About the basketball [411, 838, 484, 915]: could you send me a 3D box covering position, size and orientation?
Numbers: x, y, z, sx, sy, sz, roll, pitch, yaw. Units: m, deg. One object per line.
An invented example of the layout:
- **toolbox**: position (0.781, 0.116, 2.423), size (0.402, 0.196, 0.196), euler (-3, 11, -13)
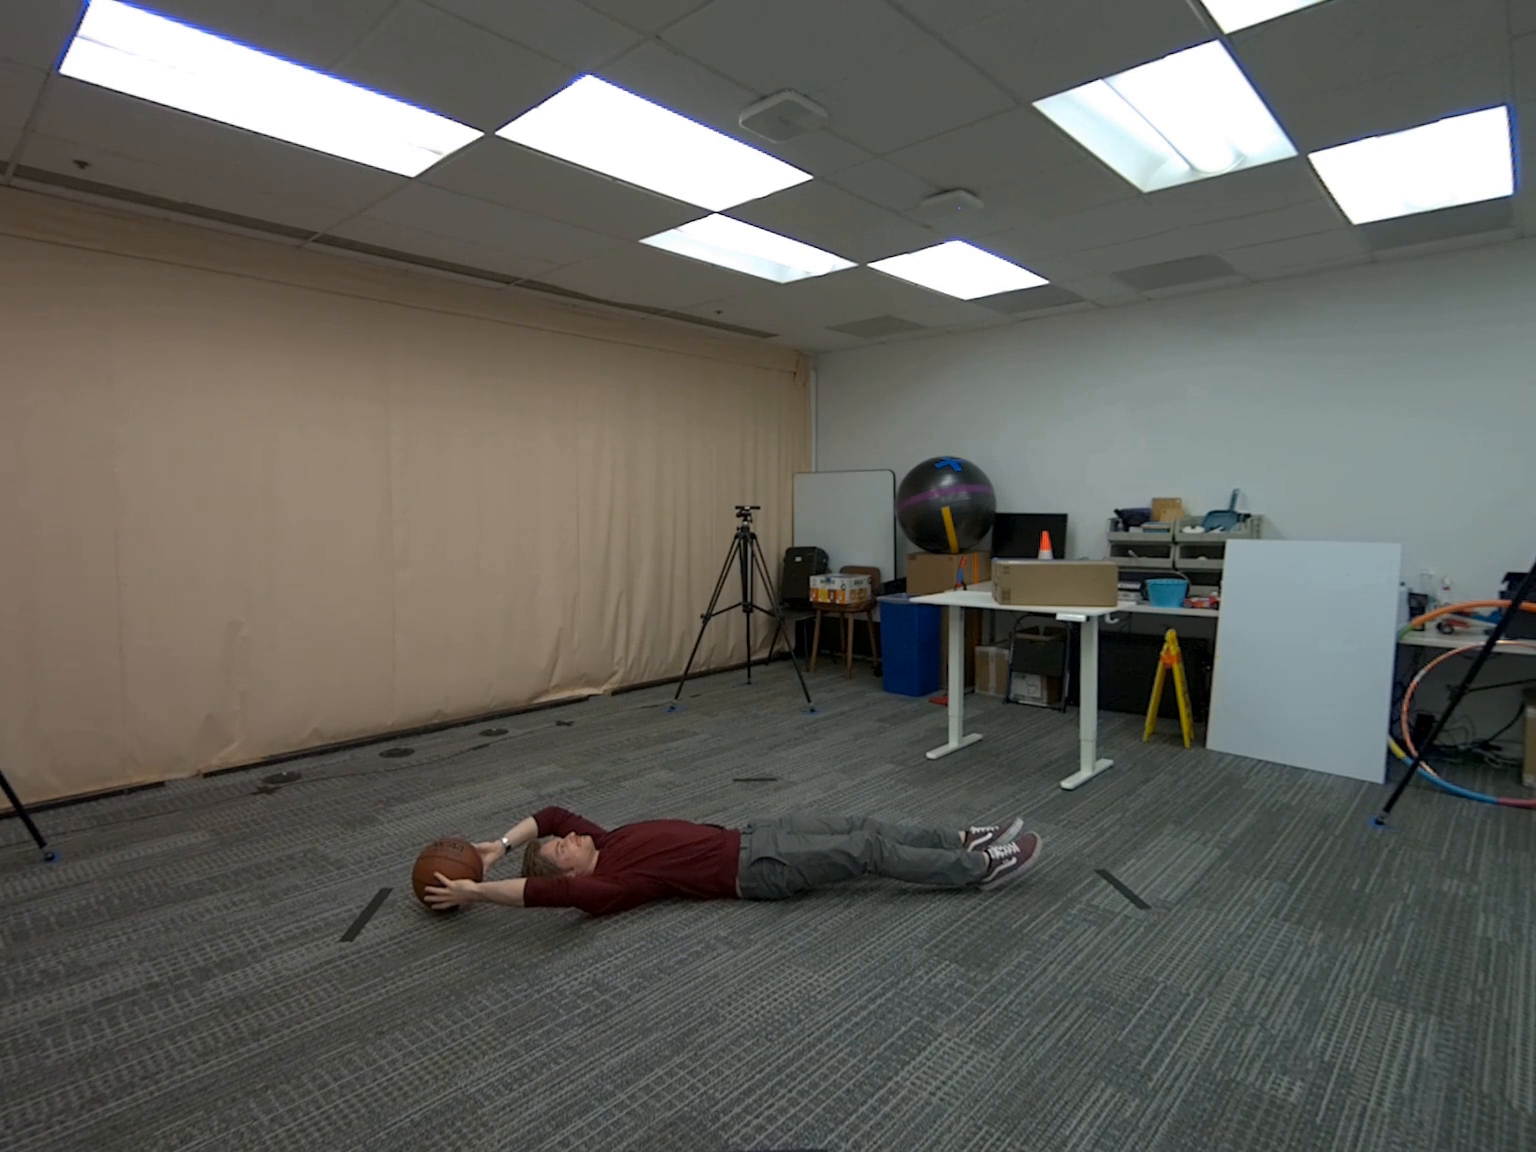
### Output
- **basketball**: position (-1.114, 1.039, 2.929), size (0.236, 0.235, 0.237), euler (0, 4, -2)
